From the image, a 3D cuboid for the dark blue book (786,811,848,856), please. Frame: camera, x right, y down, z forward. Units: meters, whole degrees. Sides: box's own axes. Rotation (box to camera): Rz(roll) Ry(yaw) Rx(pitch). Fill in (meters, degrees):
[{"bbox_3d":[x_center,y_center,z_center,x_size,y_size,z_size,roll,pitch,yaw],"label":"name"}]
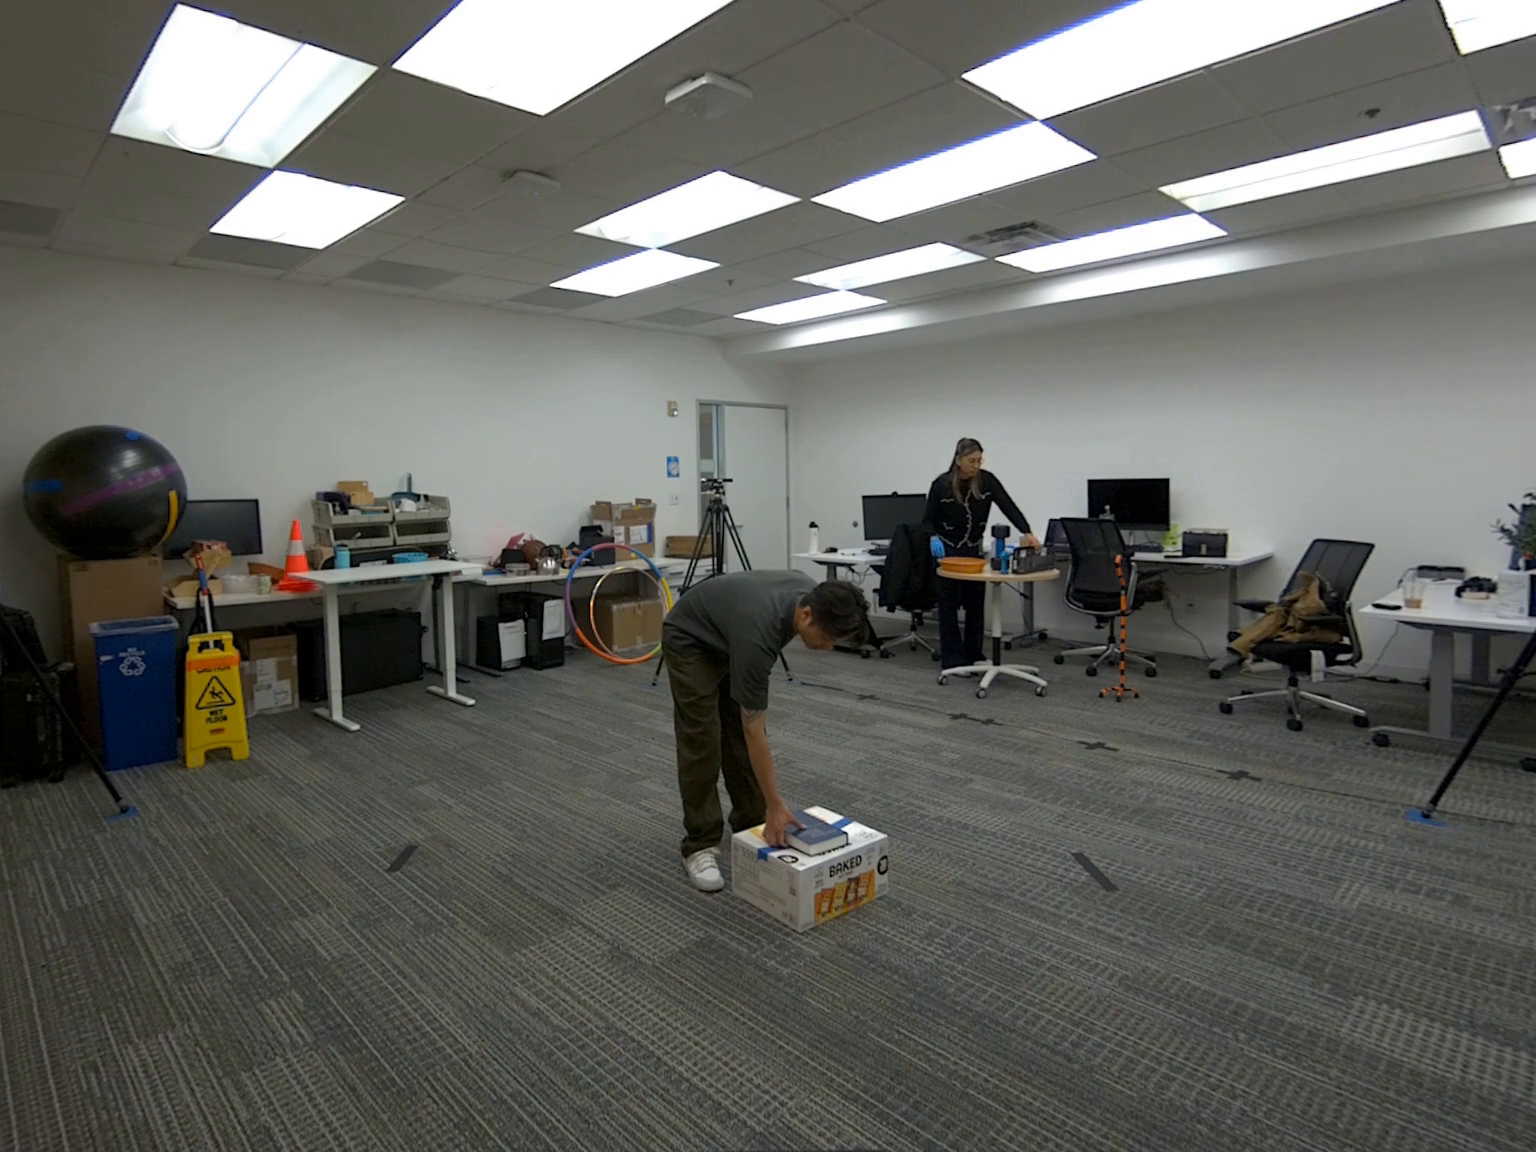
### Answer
[{"bbox_3d":[0.137,0.859,2.848,0.159,0.045,0.252,-6,8,-35],"label":"dark blue book"}]
